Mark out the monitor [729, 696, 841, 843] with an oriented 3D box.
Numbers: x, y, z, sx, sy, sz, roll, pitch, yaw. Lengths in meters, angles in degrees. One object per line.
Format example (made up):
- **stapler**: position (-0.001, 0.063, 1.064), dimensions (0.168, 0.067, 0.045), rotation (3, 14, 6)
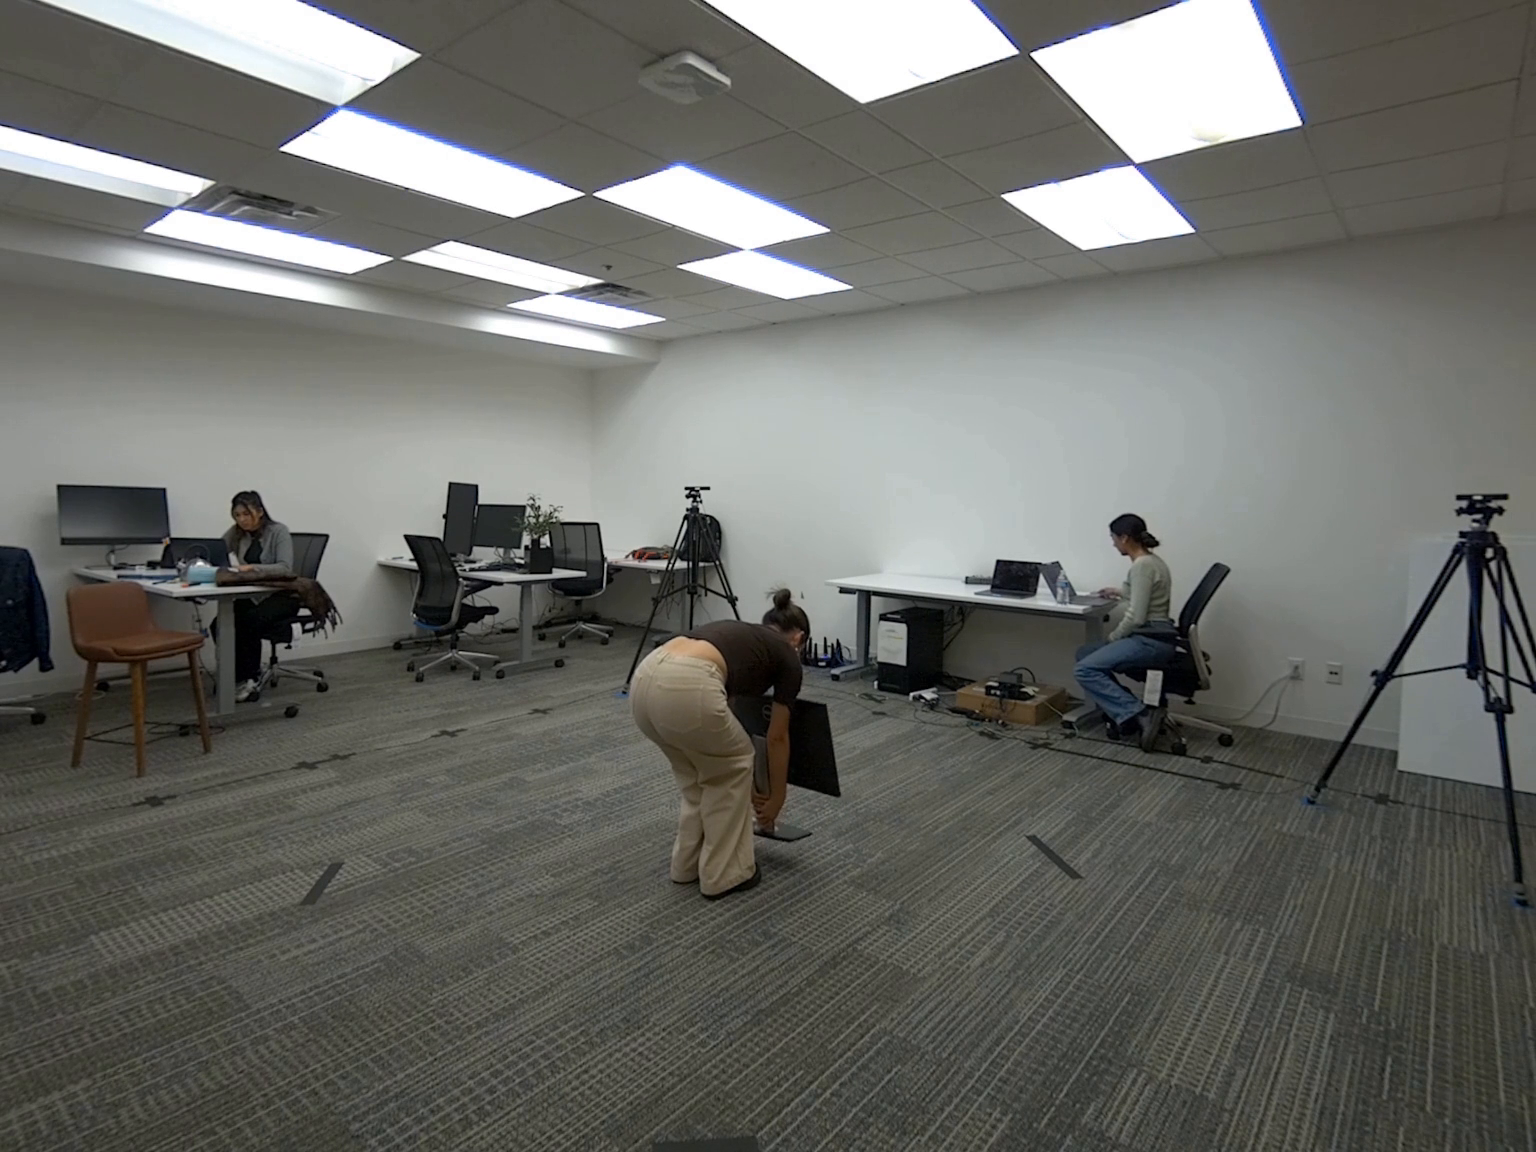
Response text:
- **monitor**: position (0.010, 0.705, 3.197), dimensions (0.556, 0.523, 0.181), rotation (1, -1, 43)
